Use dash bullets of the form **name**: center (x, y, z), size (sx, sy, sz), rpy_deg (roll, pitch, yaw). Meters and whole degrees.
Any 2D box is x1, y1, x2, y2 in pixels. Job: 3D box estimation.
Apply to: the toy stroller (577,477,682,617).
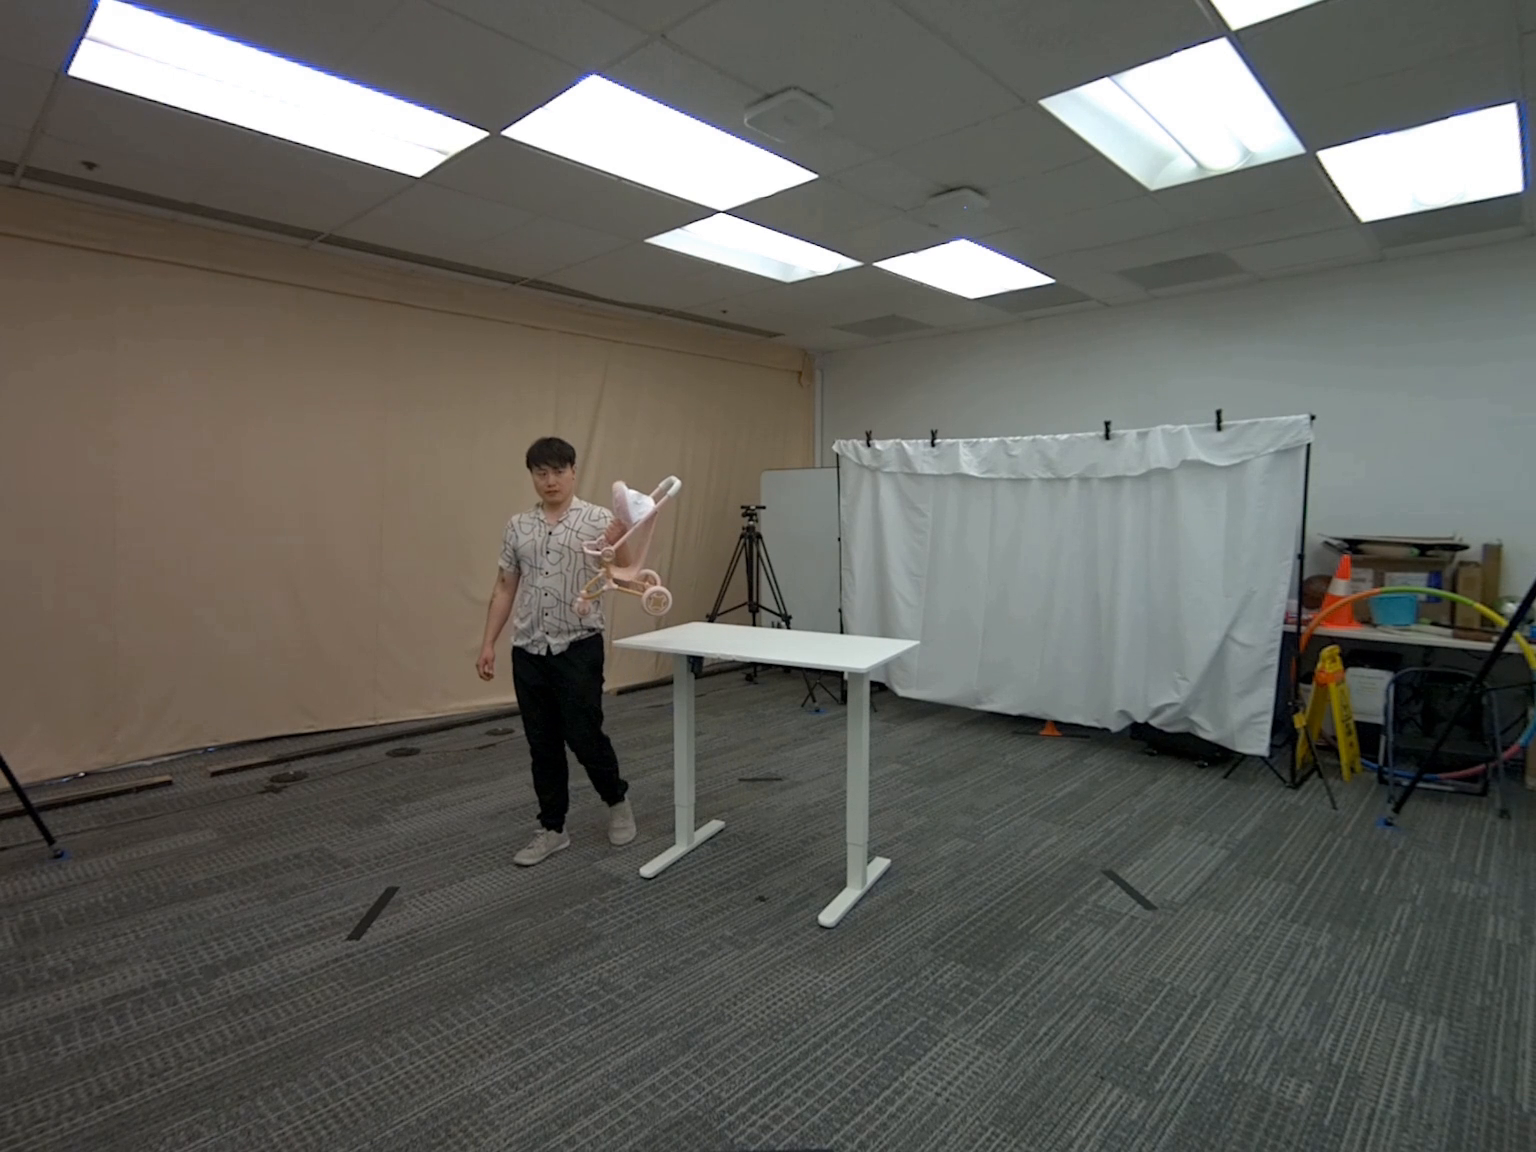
- **toy stroller**: center (-0.511, -0.098, 3.027), size (0.337, 0.531, 0.287), rpy_deg (4, 13, -13)
